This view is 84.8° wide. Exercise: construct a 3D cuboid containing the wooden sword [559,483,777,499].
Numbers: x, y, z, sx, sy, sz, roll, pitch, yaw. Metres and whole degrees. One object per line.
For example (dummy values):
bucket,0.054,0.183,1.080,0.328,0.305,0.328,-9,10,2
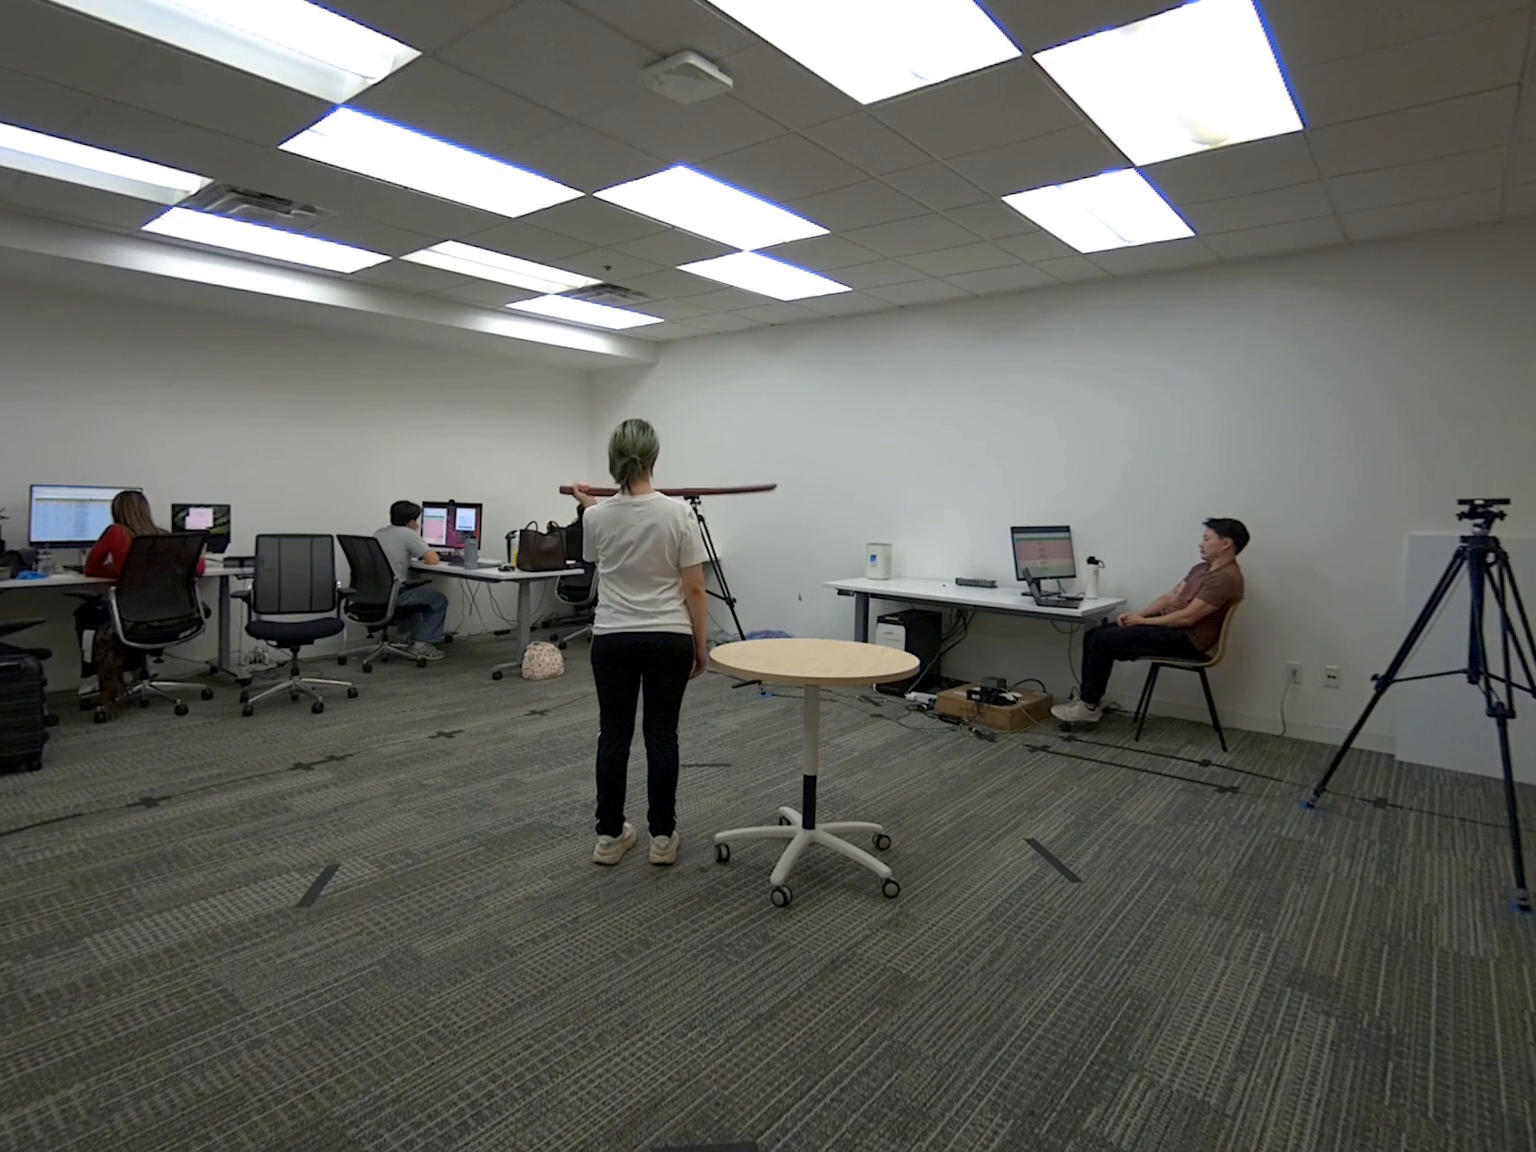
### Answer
wooden sword,-0.404,-0.352,3.599,0.998,0.052,0.024,-4,-13,-30
